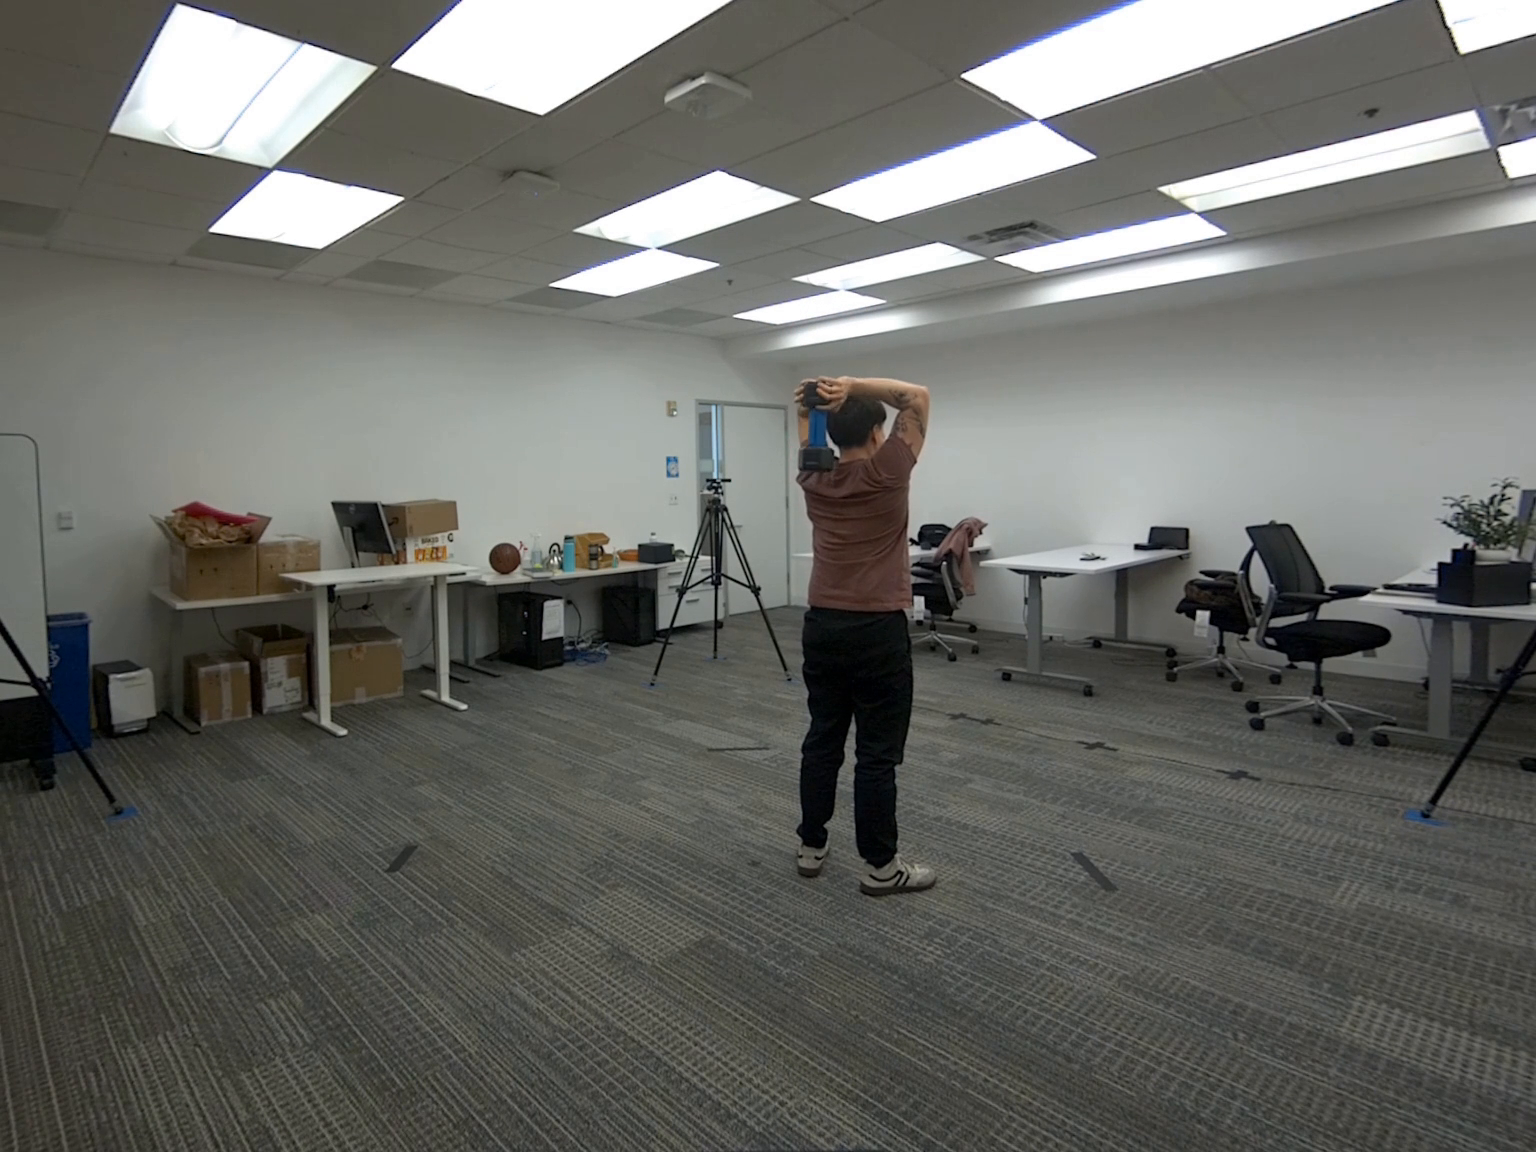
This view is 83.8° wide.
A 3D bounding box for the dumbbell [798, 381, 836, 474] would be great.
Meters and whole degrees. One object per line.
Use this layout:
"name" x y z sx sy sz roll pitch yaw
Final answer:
"dumbbell" 0.167 -0.500 2.827 0.119 0.294 0.112 4 -1 -36
